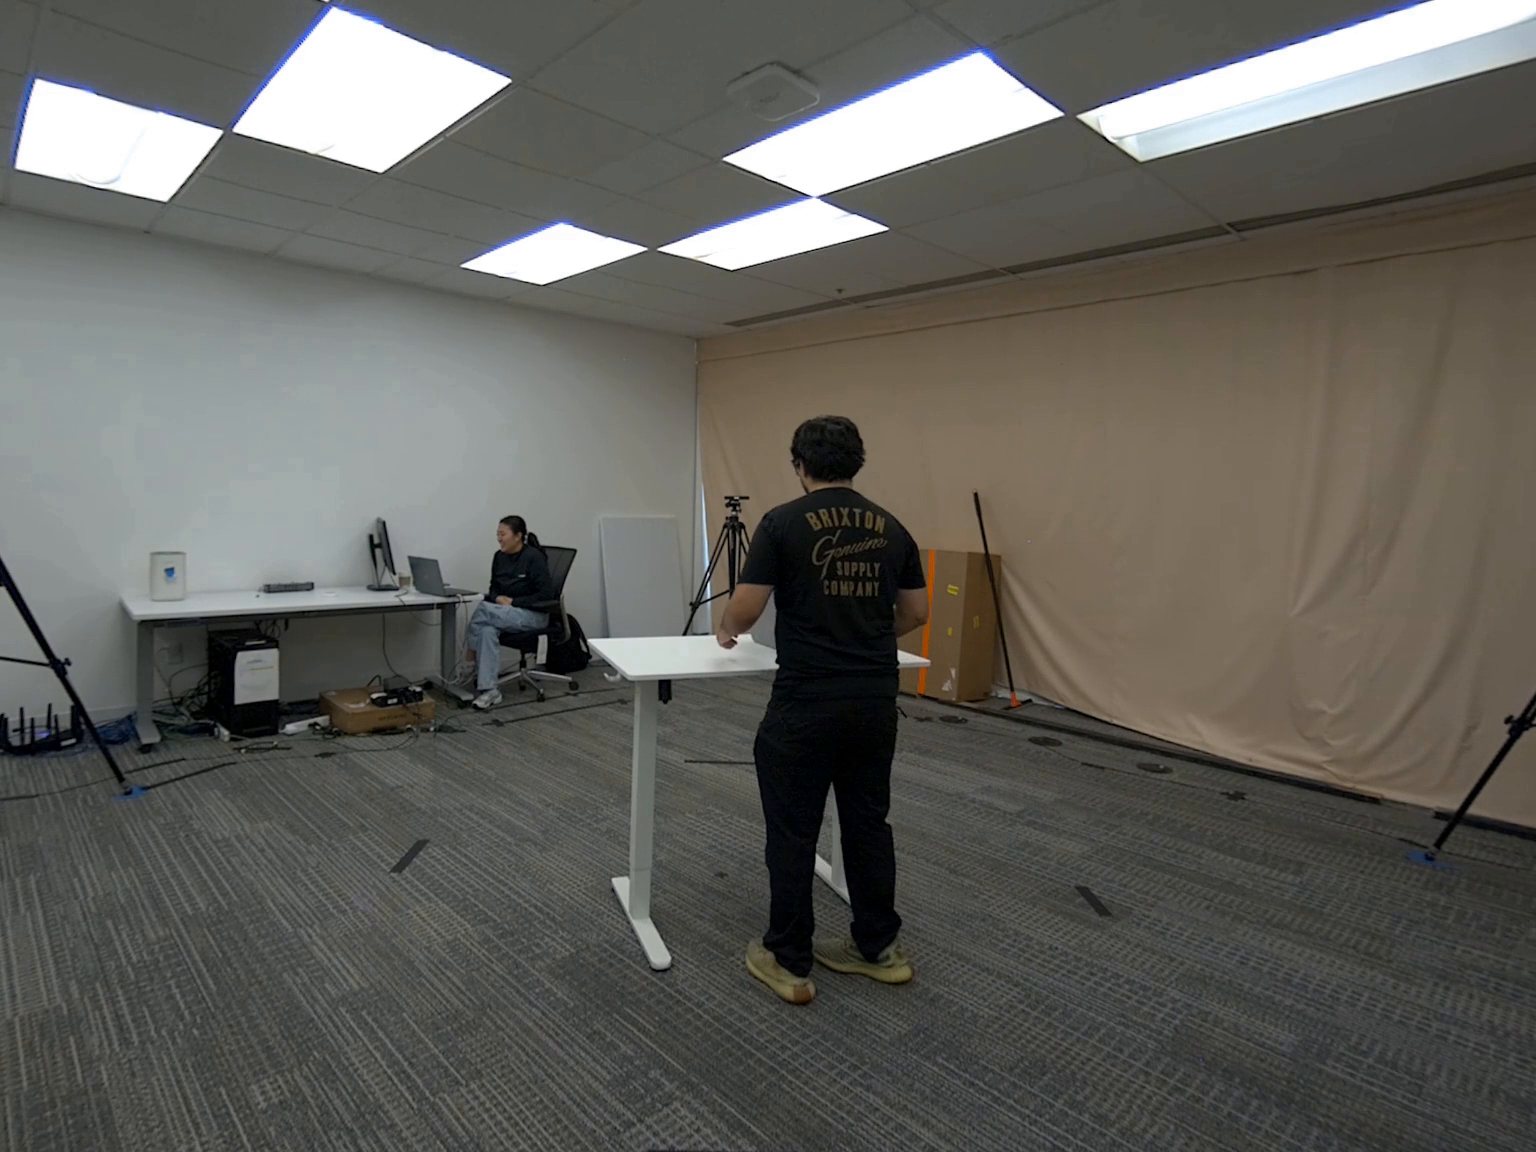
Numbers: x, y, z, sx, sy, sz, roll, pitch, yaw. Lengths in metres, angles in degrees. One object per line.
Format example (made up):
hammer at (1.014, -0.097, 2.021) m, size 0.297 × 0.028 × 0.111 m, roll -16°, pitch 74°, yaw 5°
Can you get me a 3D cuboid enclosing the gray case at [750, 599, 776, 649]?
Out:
gray case at (0.016, 0.117, 2.881) m, size 0.103 × 0.259 × 0.262 m, roll -13°, pitch 10°, yaw -24°
